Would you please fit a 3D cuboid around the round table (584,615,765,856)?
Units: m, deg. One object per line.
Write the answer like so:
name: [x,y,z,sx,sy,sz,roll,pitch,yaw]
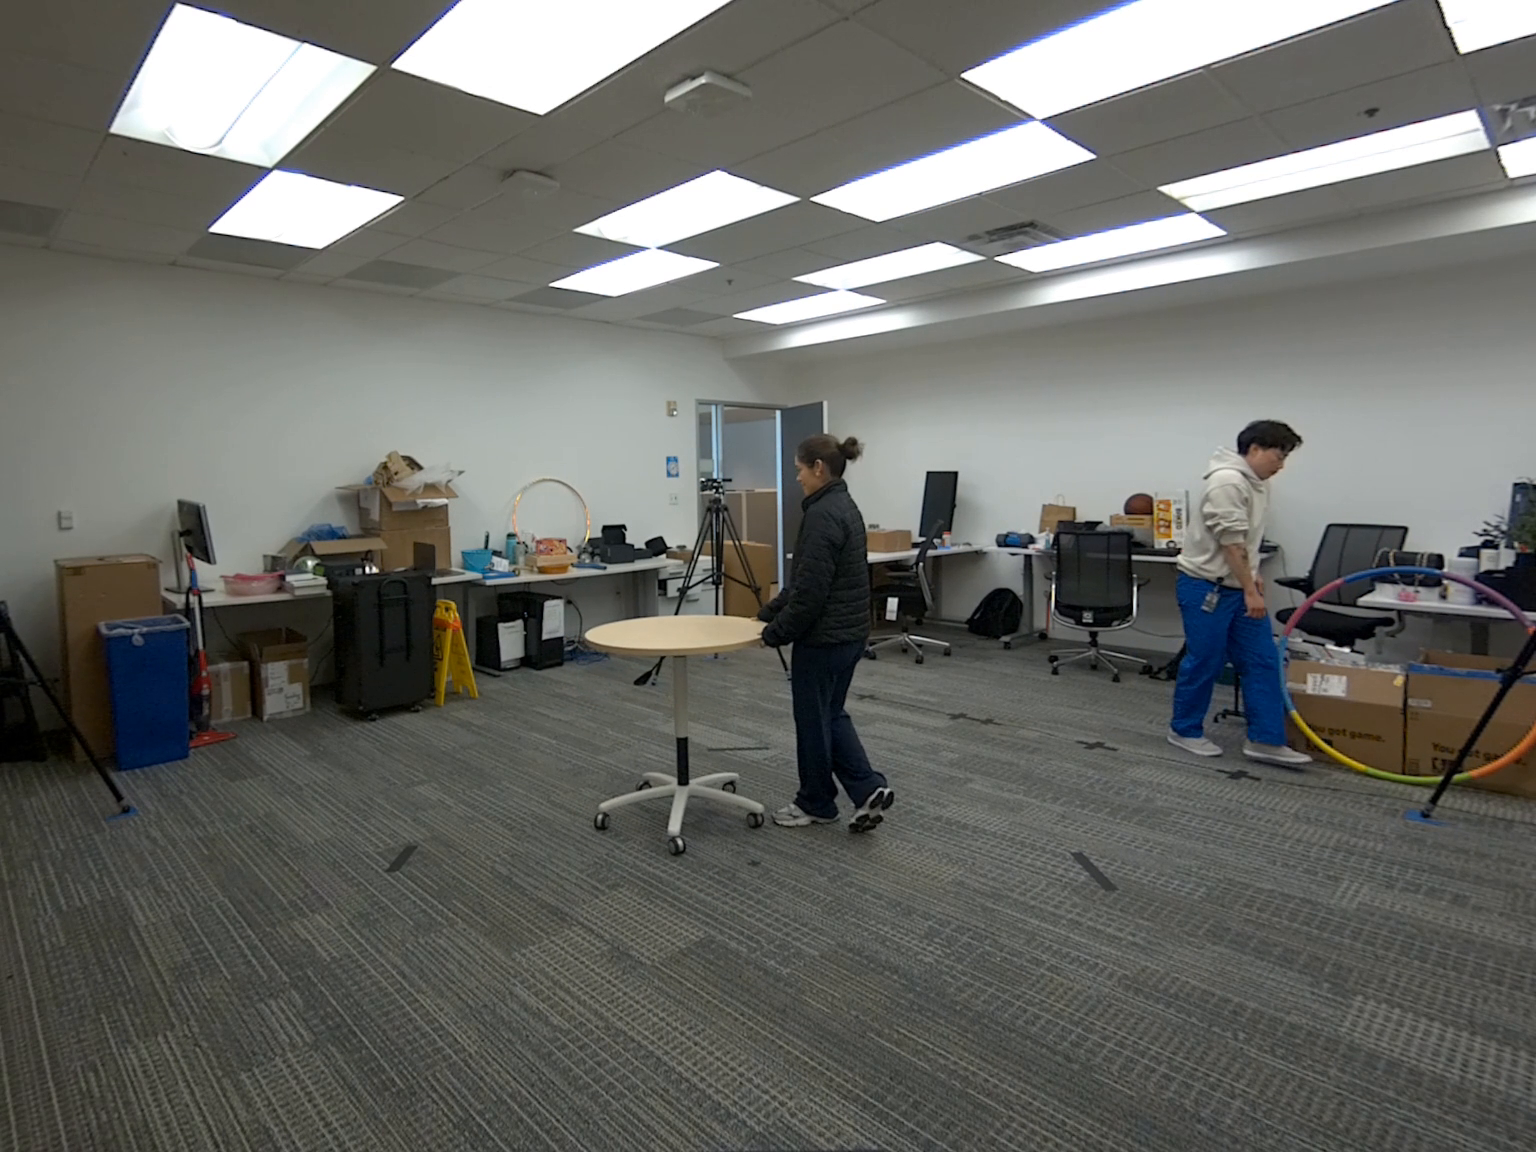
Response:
round table: [-0.349,0.608,3.525,0.784,0.784,0.789,-2,4,-2]
